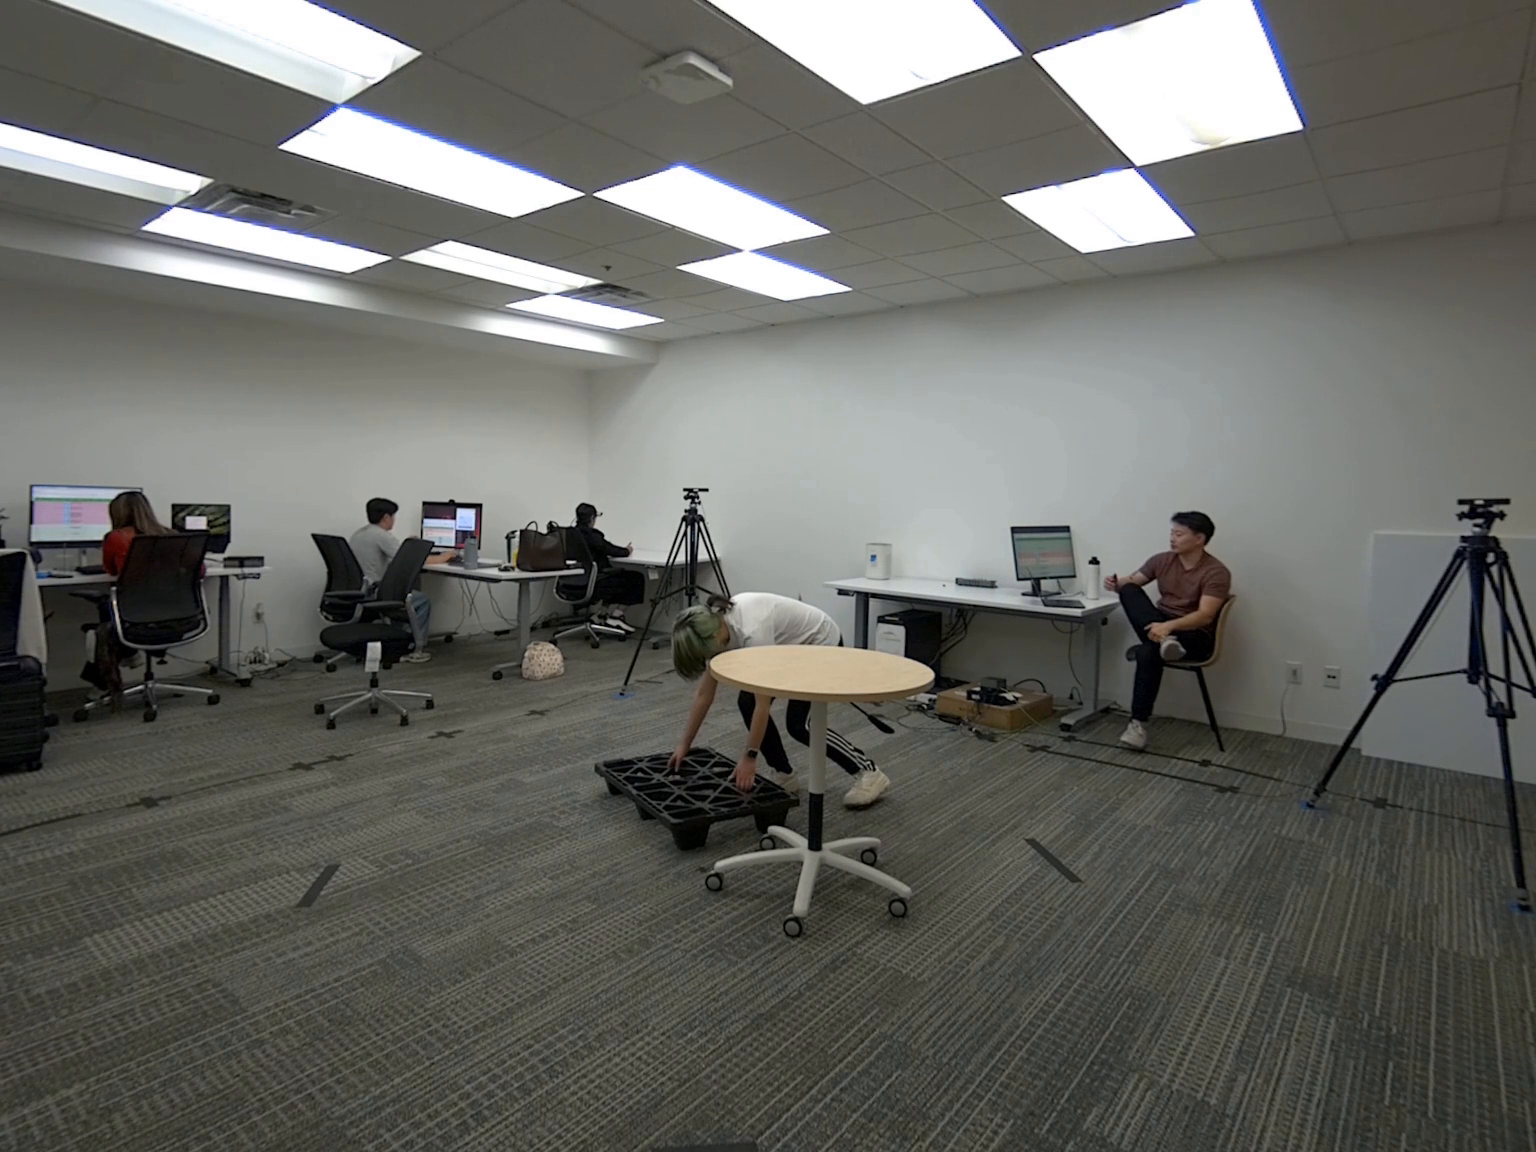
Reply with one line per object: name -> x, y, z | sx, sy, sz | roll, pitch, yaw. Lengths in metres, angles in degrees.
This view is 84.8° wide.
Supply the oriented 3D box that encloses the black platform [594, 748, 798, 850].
black platform -> -0.342, 0.941, 3.691 | 0.588, 0.143, 0.831 | -2, 6, -32
